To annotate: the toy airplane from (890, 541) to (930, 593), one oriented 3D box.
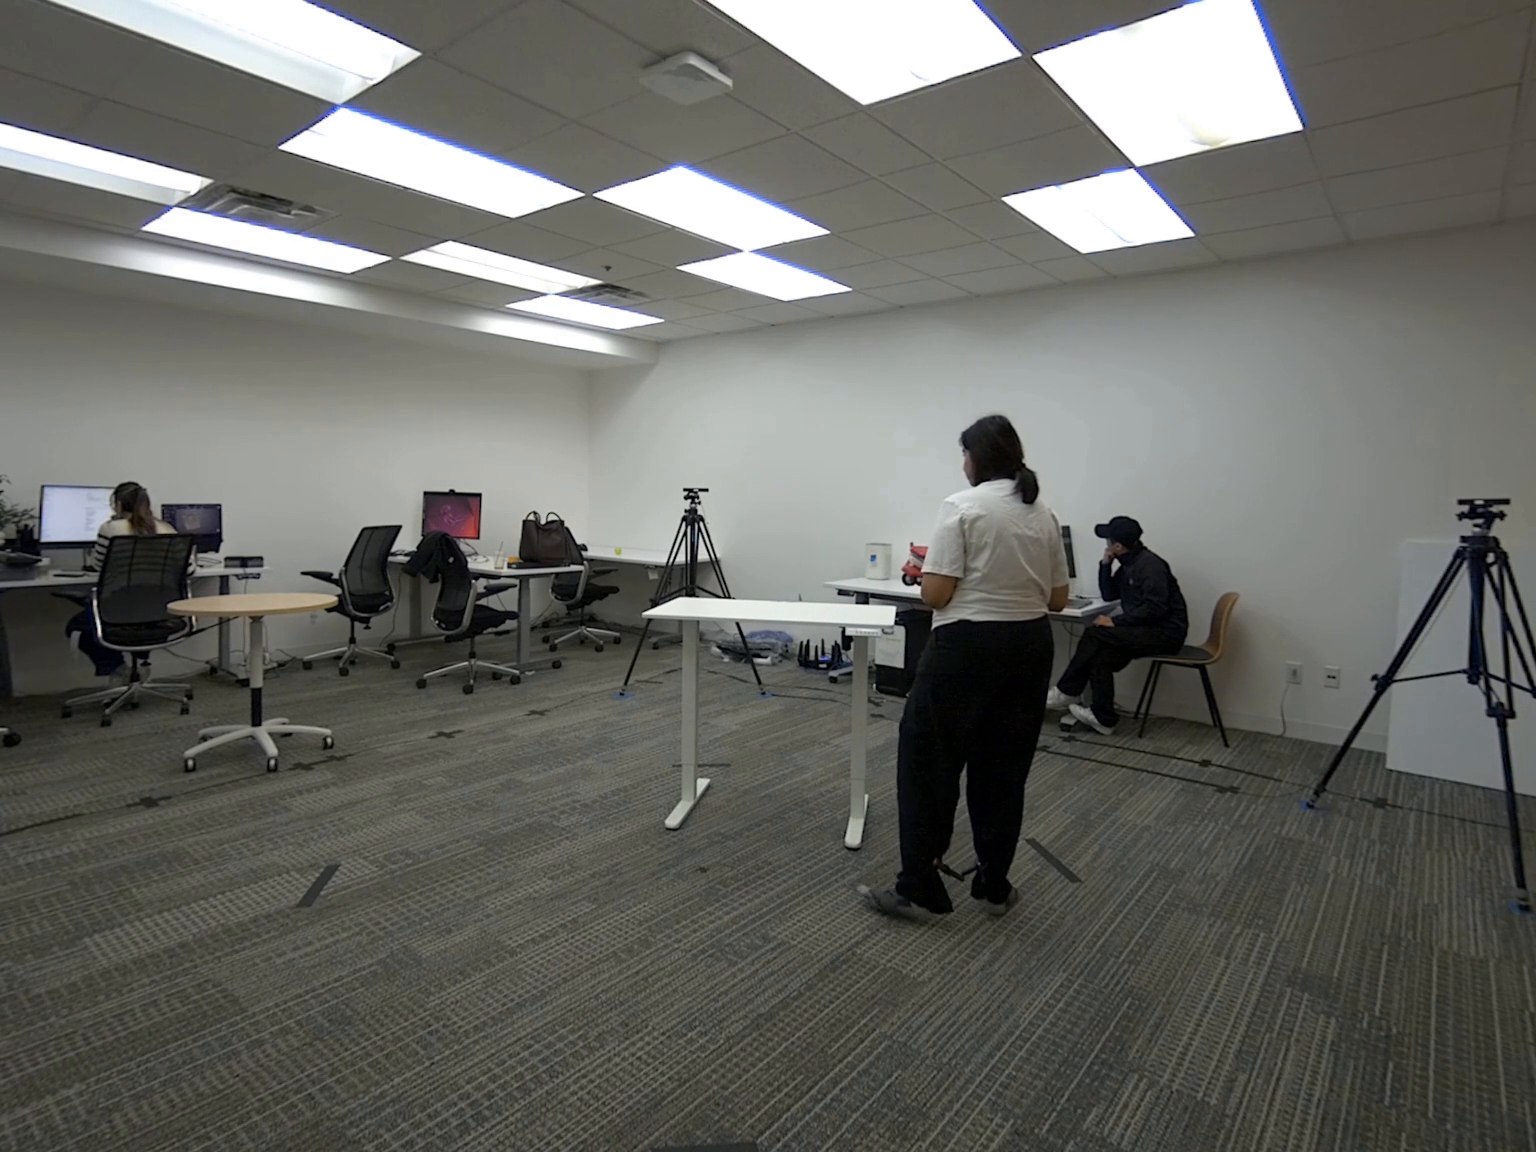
[{"bbox_3d":[0.614,-0.021,3.136,0.264,0.156,0.247,14,6,15],"label":"toy airplane"}]
